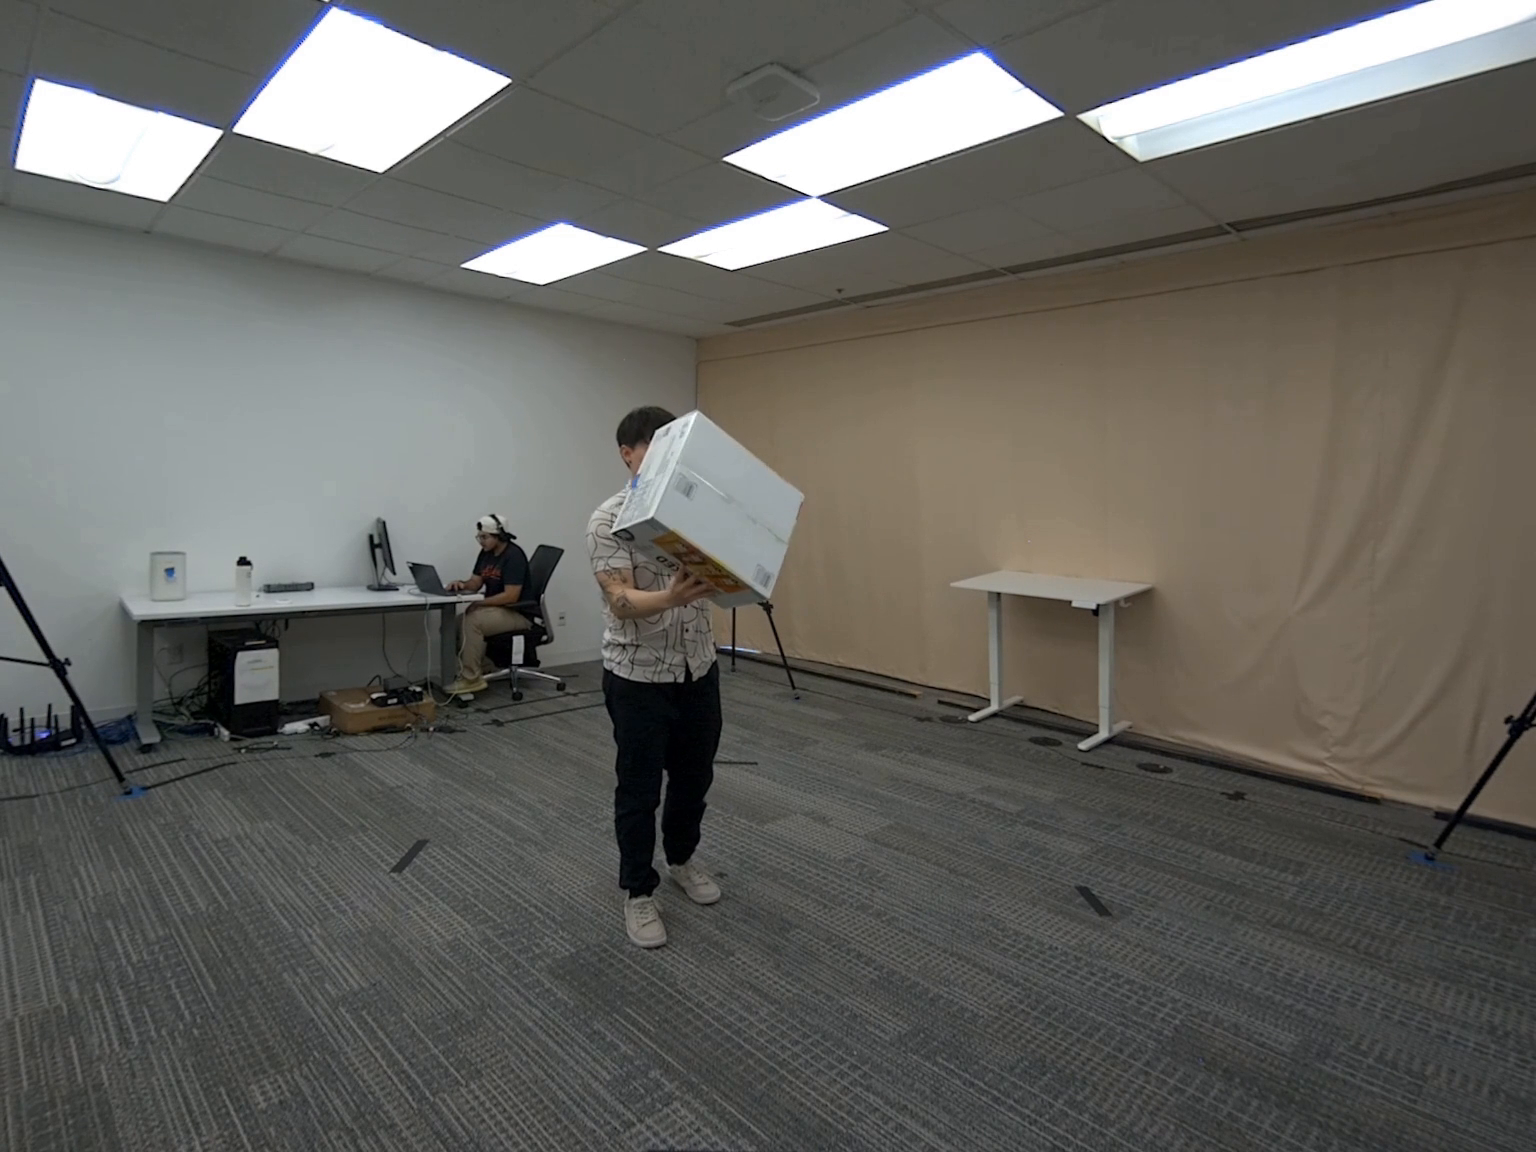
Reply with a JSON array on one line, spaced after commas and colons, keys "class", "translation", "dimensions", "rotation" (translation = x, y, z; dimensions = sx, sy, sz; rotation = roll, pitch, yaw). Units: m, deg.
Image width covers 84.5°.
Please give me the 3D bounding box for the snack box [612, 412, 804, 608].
[{"class": "snack box", "translation": [-0.152, -0.164, 2.242], "dimensions": [0.394, 0.344, 0.209], "rotation": [36, -31, -29]}]
